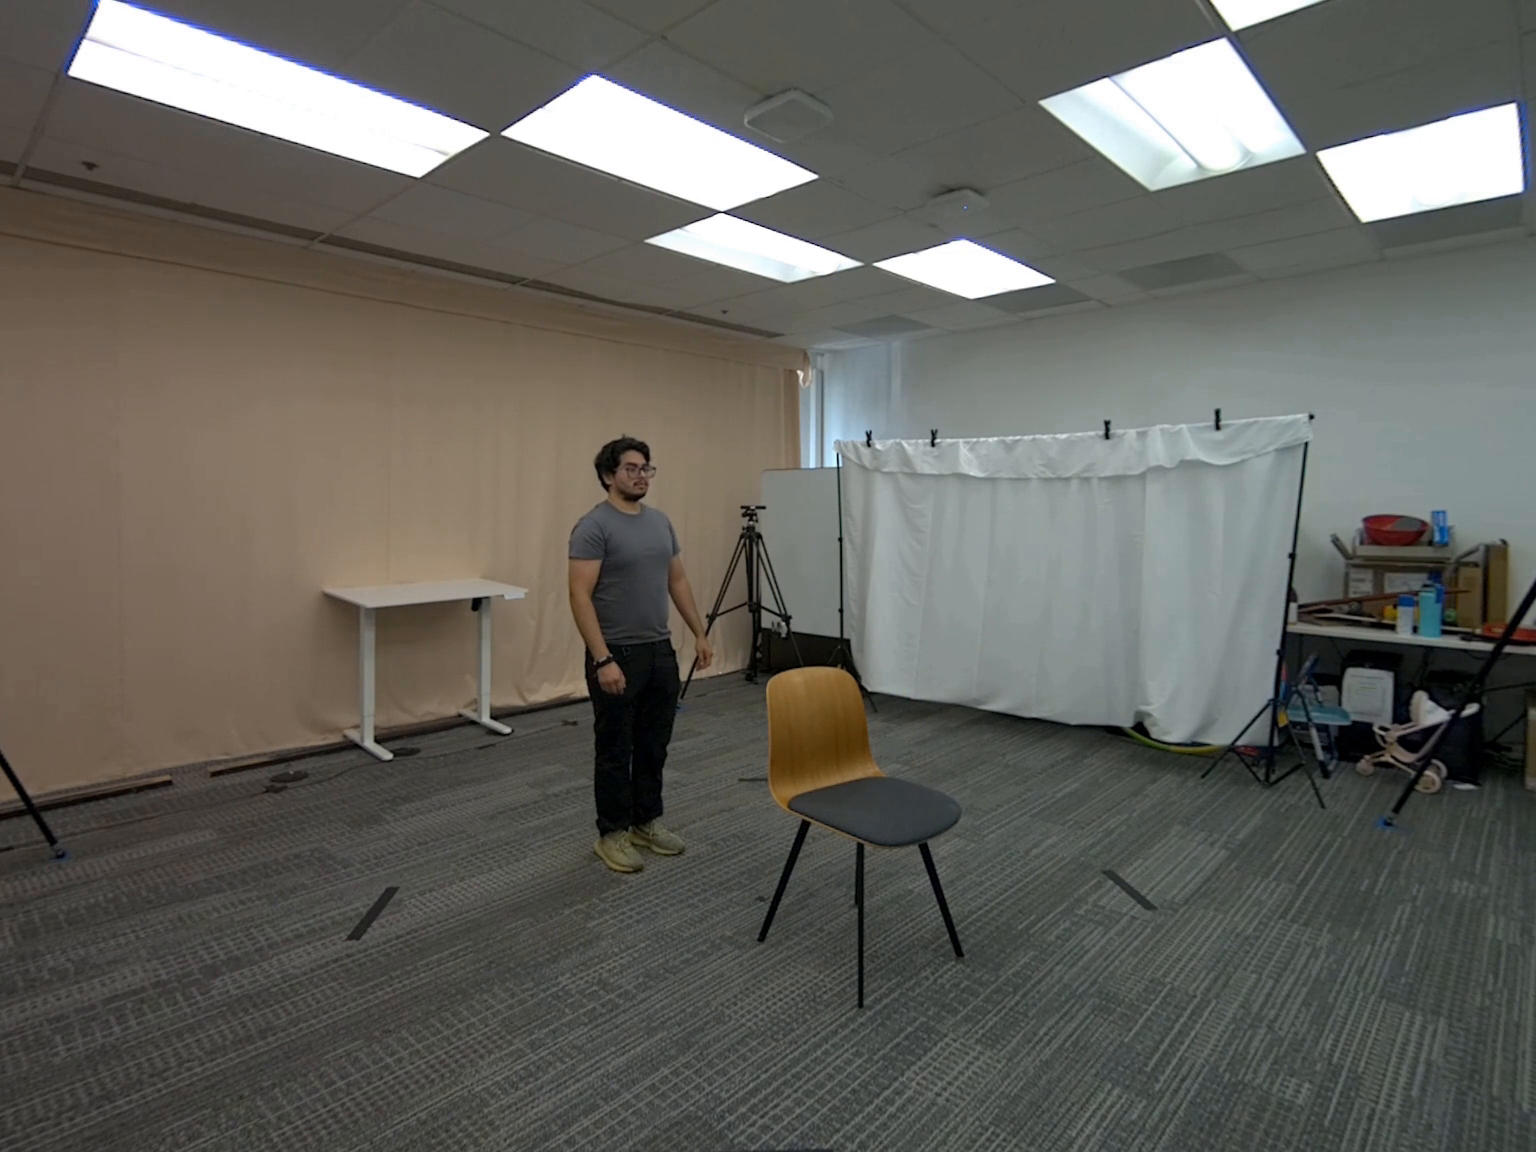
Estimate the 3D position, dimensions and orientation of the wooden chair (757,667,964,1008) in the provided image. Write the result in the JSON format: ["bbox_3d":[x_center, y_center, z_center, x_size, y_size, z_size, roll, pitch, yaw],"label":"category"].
[{"bbox_3d":[0.289,0.748,2.605,0.464,0.877,0.539,-3,0,-38],"label":"wooden chair"}]
